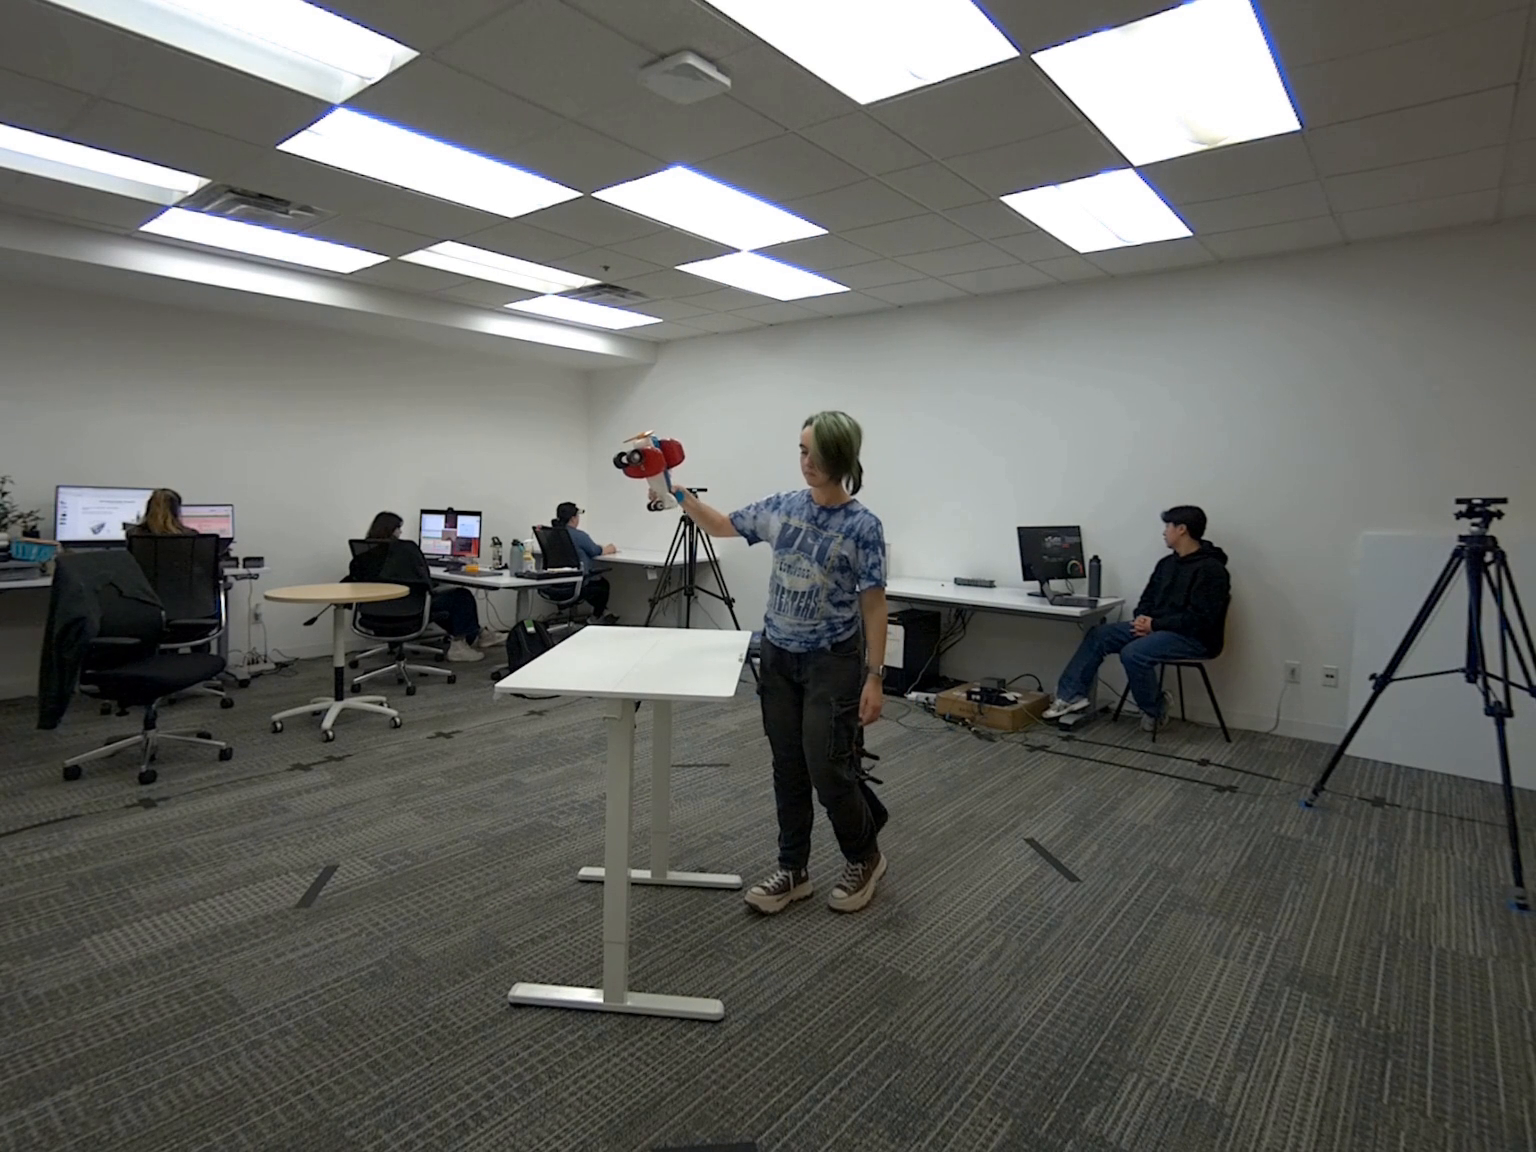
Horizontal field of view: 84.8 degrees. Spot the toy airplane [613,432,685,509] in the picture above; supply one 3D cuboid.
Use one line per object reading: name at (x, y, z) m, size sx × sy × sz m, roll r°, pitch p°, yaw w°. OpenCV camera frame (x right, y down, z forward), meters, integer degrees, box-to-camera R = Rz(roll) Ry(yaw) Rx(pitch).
toy airplane at (-0.395, -0.337, 2.758) m, size 0.261 × 0.250 × 0.156 m, roll 25°, pitch 54°, yaw 34°
